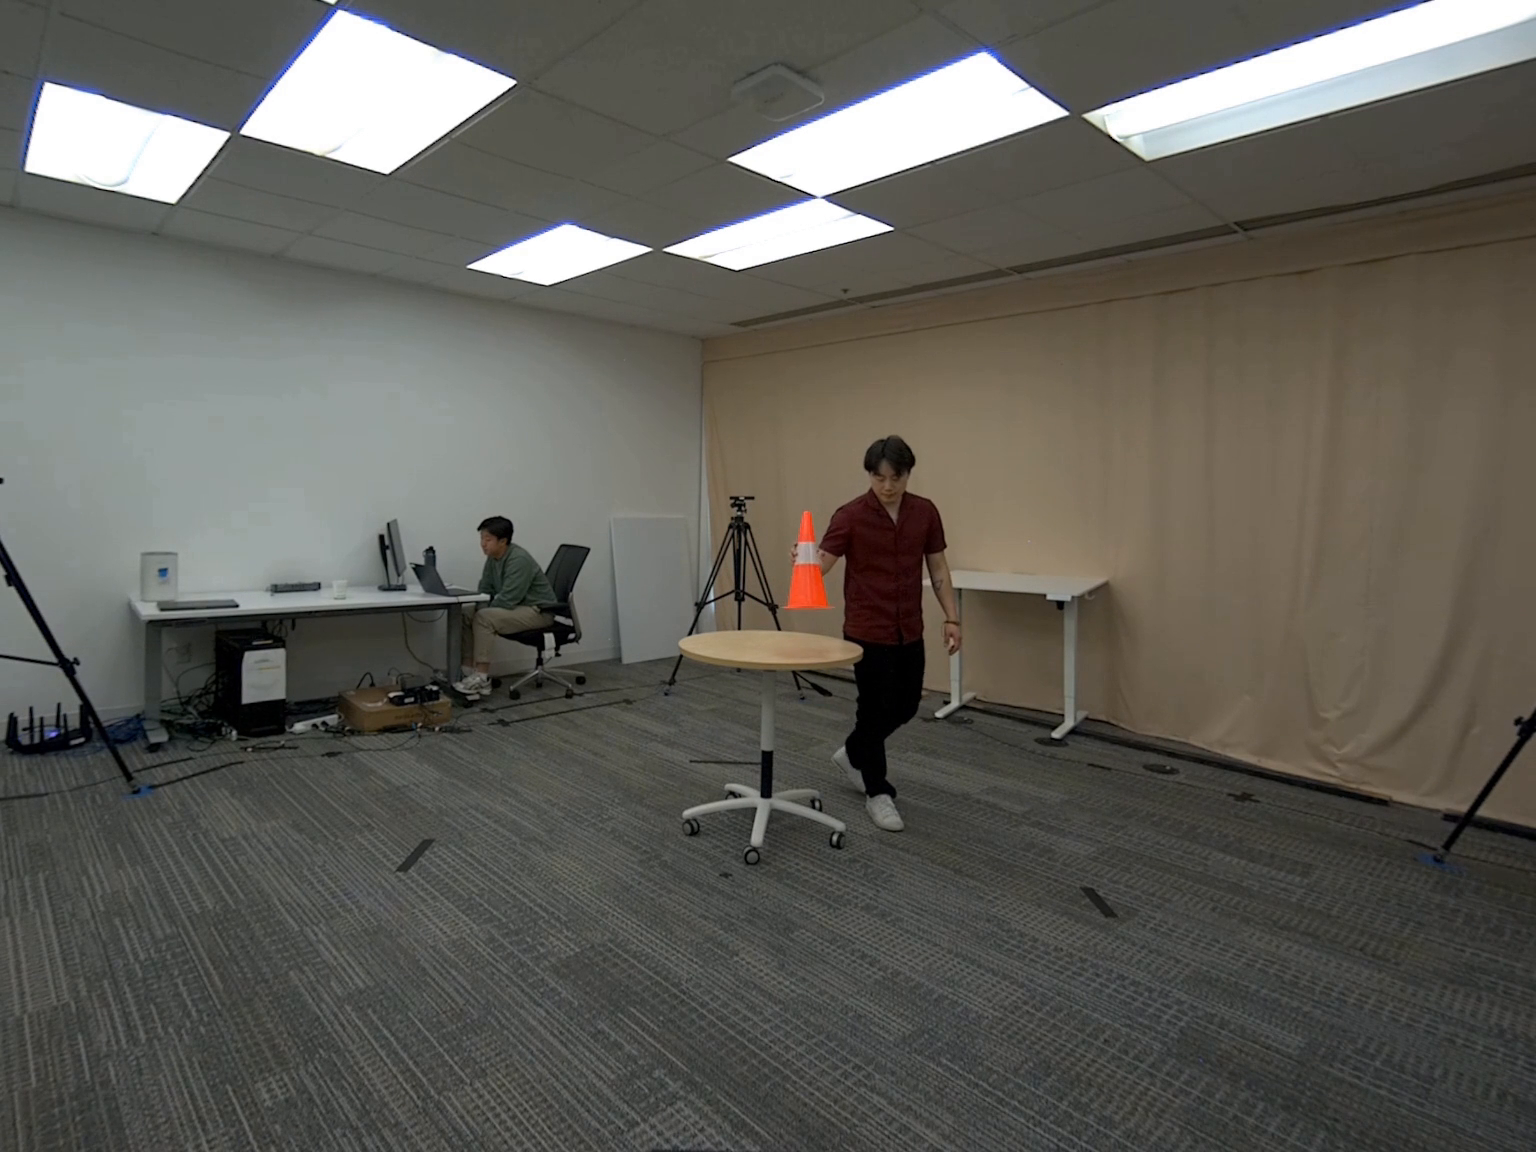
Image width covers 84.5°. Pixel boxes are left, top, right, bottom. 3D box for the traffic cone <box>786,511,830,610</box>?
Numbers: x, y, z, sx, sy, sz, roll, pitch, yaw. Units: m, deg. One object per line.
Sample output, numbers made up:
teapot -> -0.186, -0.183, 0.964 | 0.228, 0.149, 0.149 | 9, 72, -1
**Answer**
traffic cone -> 0.145, -0.066, 3.338 | 0.201, 0.385, 0.207 | 2, -4, -27
